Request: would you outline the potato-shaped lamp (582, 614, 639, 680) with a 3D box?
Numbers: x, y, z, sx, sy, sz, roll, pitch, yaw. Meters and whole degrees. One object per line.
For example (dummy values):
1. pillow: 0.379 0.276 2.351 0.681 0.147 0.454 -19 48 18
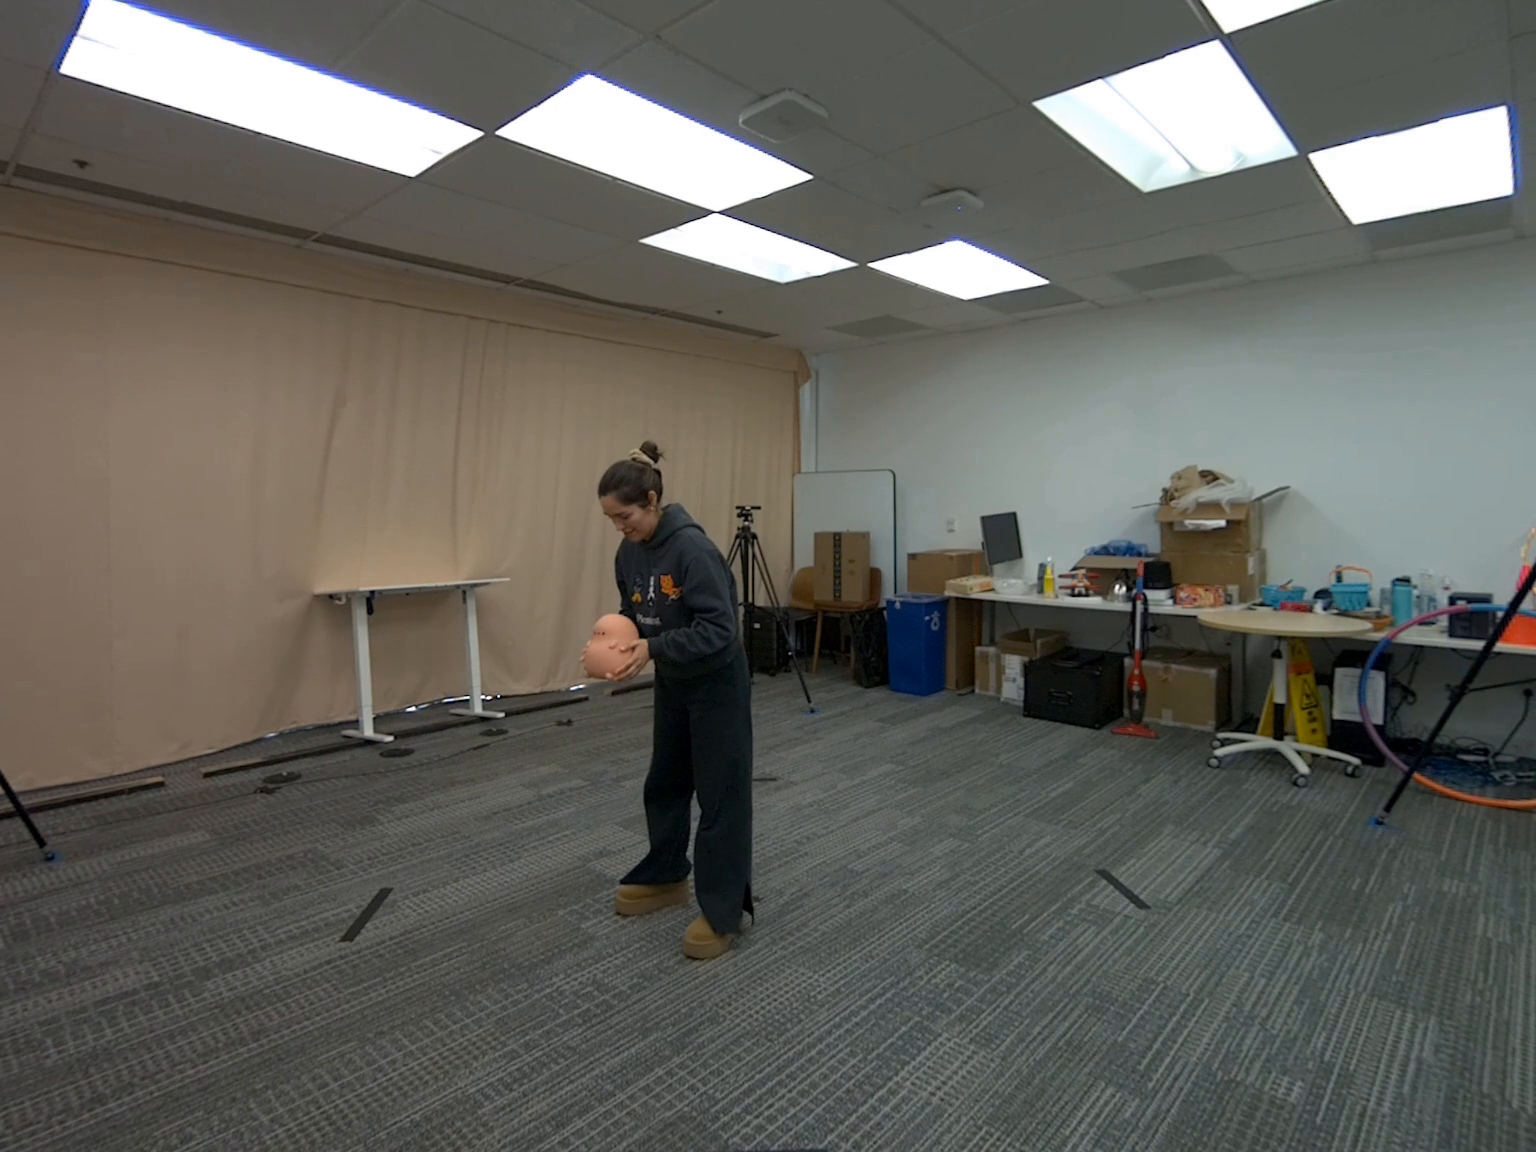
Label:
1. potato-shaped lamp: -0.463 0.220 2.593 0.170 0.198 0.166 -3 0 42
